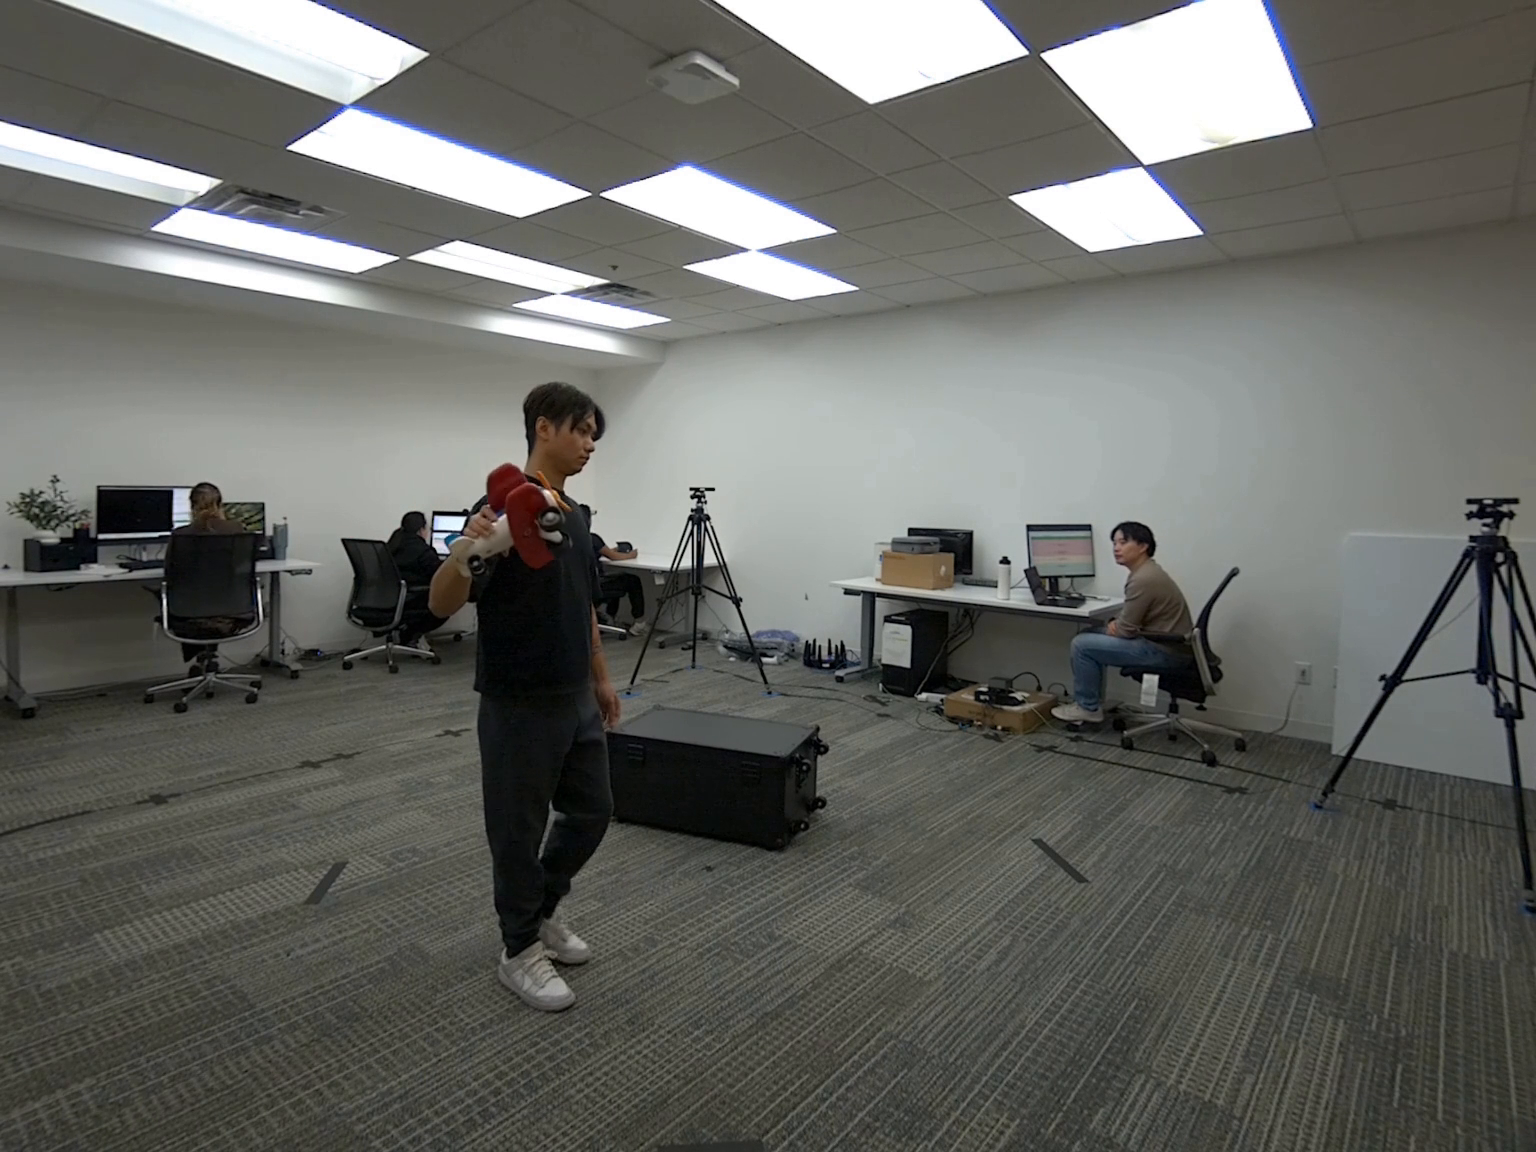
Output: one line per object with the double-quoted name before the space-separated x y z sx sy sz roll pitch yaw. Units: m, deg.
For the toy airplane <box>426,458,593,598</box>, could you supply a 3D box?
"toy airplane" -0.560 -0.104 1.802 0.252 0.249 0.162 -4 47 -38
